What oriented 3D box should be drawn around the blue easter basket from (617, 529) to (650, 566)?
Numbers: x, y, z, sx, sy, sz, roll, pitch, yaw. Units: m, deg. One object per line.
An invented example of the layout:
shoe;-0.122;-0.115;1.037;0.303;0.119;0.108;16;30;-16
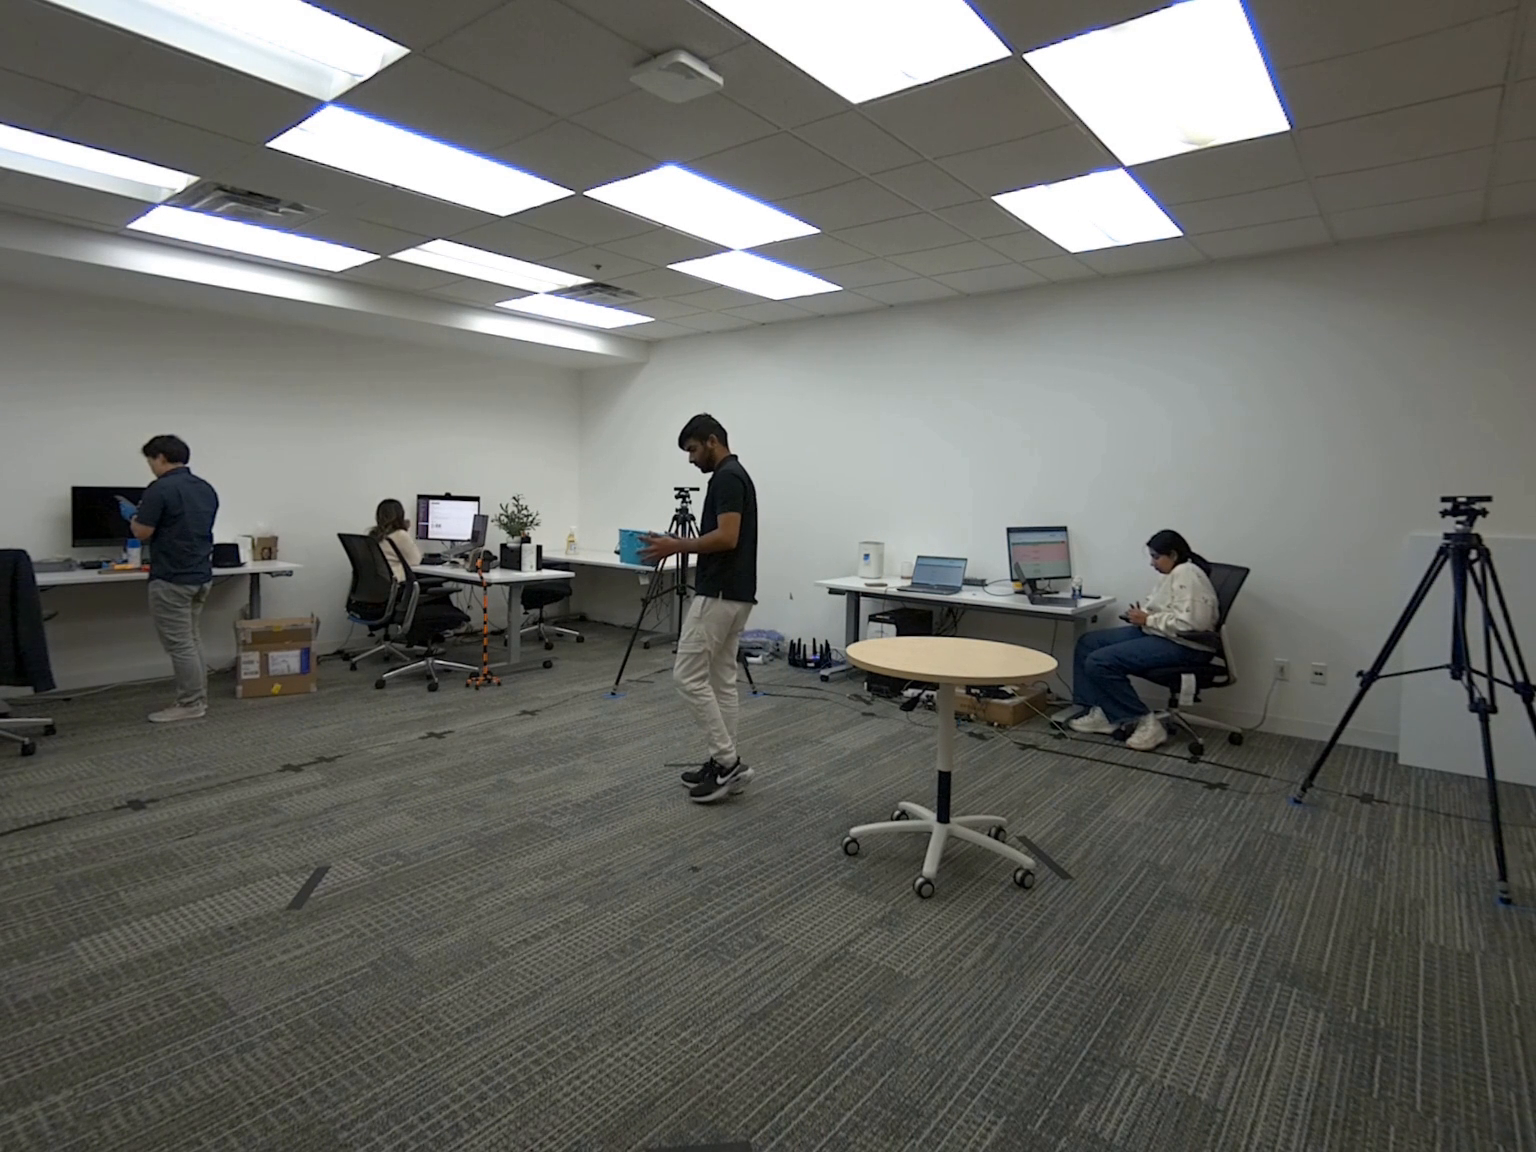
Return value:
blue easter basket;-0.589;-0.128;3.905;0.243;0.156;0.244;7;2;-2
